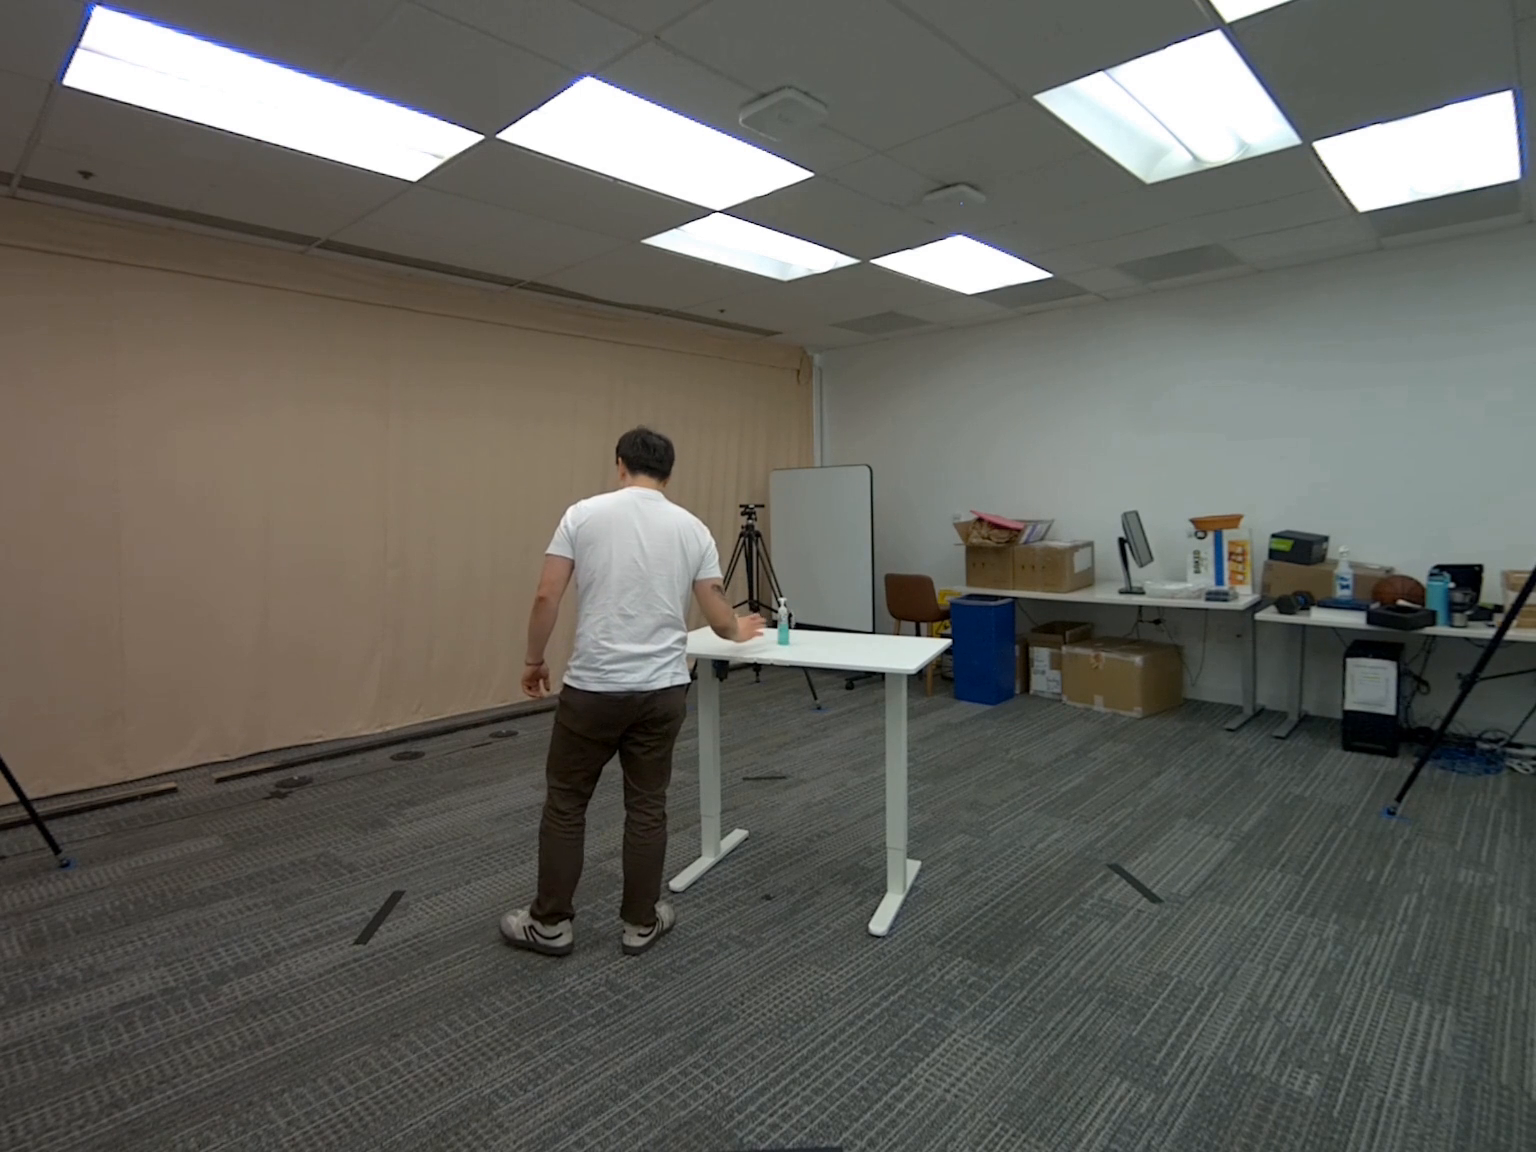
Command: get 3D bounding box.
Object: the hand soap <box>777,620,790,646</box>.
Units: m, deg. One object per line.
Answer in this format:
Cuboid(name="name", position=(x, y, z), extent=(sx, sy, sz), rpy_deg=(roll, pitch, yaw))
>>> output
Cuboid(name="hand soap", position=(0.064, 0.167, 3.079), extent=(0.043, 0.168, 0.085), rpy_deg=(3, 0, -8))
